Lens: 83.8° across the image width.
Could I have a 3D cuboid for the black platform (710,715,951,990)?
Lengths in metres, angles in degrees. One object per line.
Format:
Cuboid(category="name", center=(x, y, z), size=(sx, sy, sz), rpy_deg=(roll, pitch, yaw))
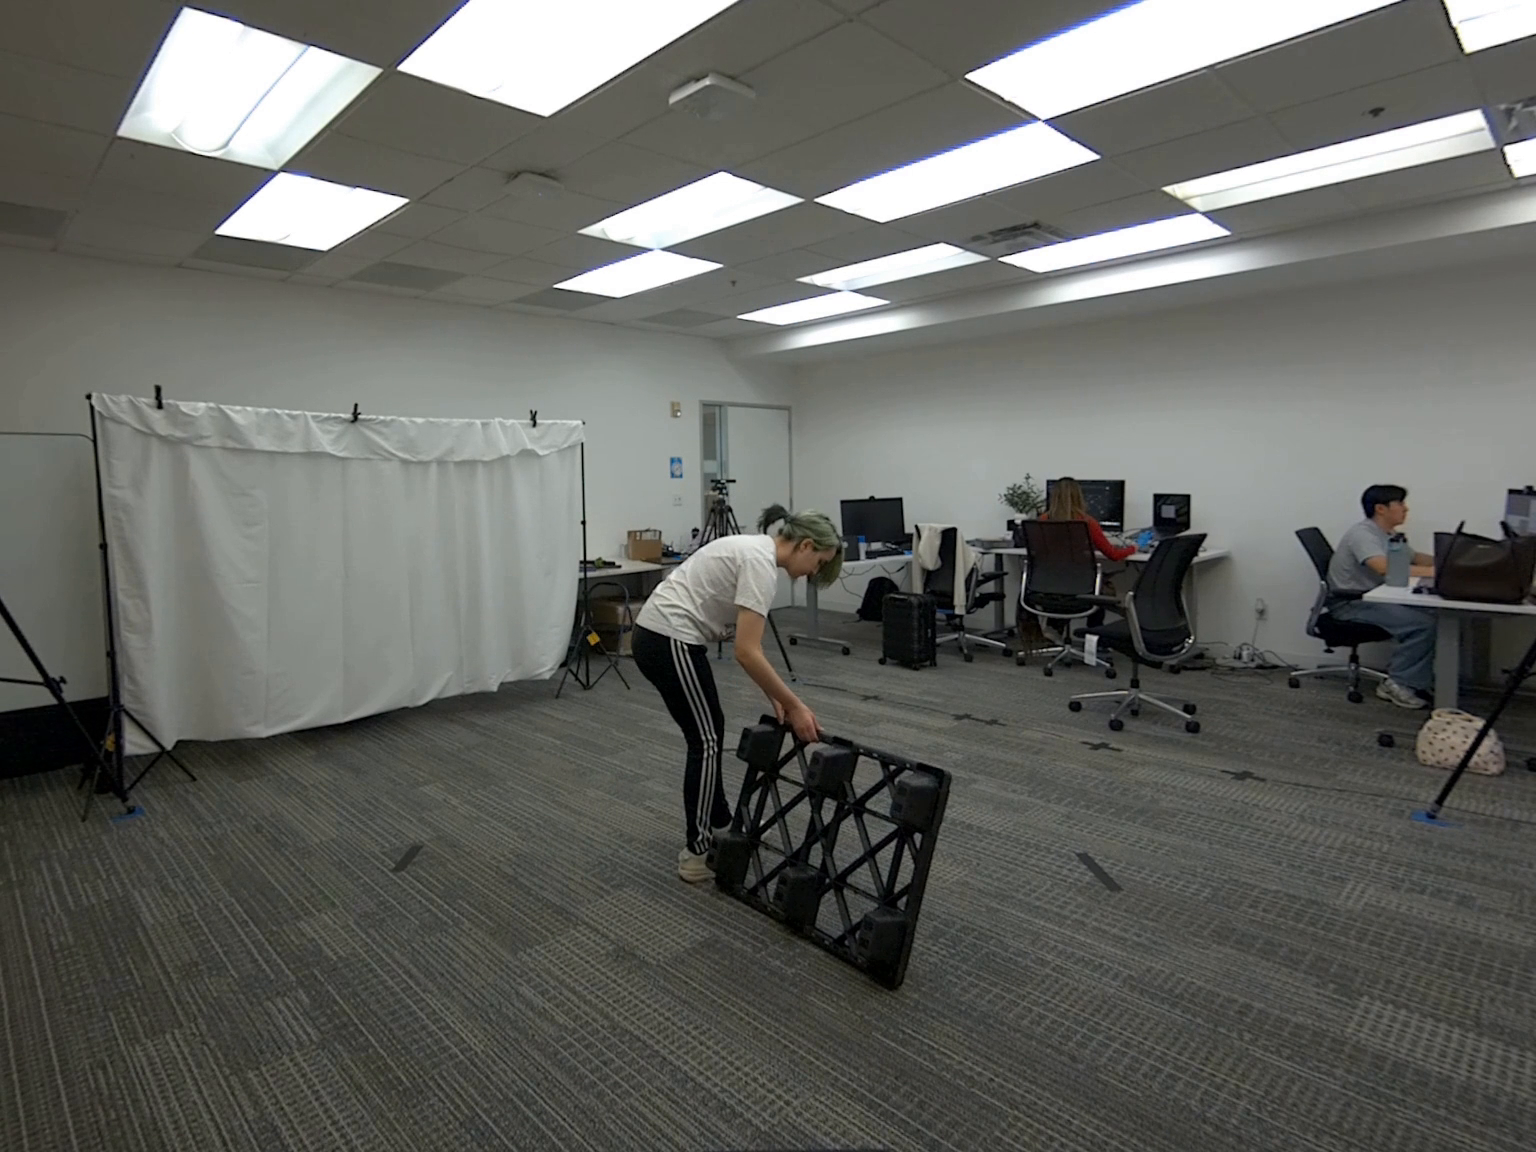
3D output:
Cuboid(category="black platform", center=(0.147, 0.799, 2.653), size=(0.138, 0.609, 0.830), rpy_deg=(25, -13, -39))
